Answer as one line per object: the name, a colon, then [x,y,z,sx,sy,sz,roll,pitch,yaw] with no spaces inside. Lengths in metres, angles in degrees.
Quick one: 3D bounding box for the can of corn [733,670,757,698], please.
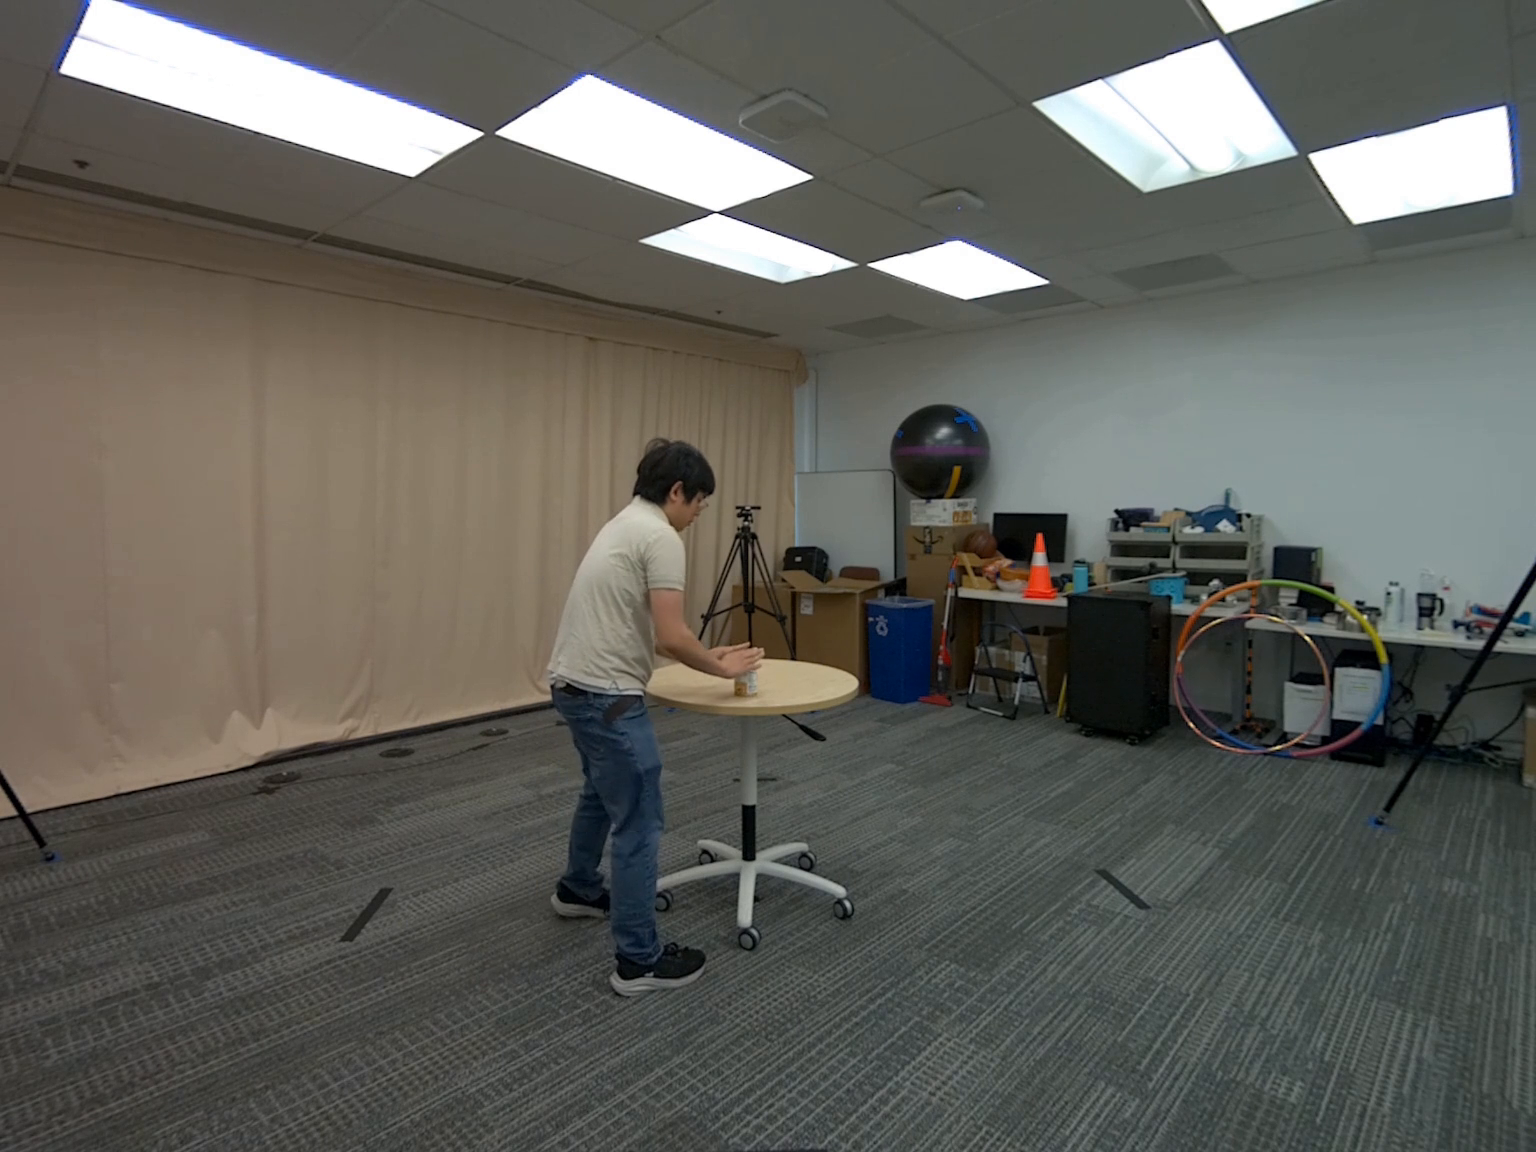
can of corn: [-0.067,0.332,2.724,0.074,0.110,0.074,-1,6,-2]
